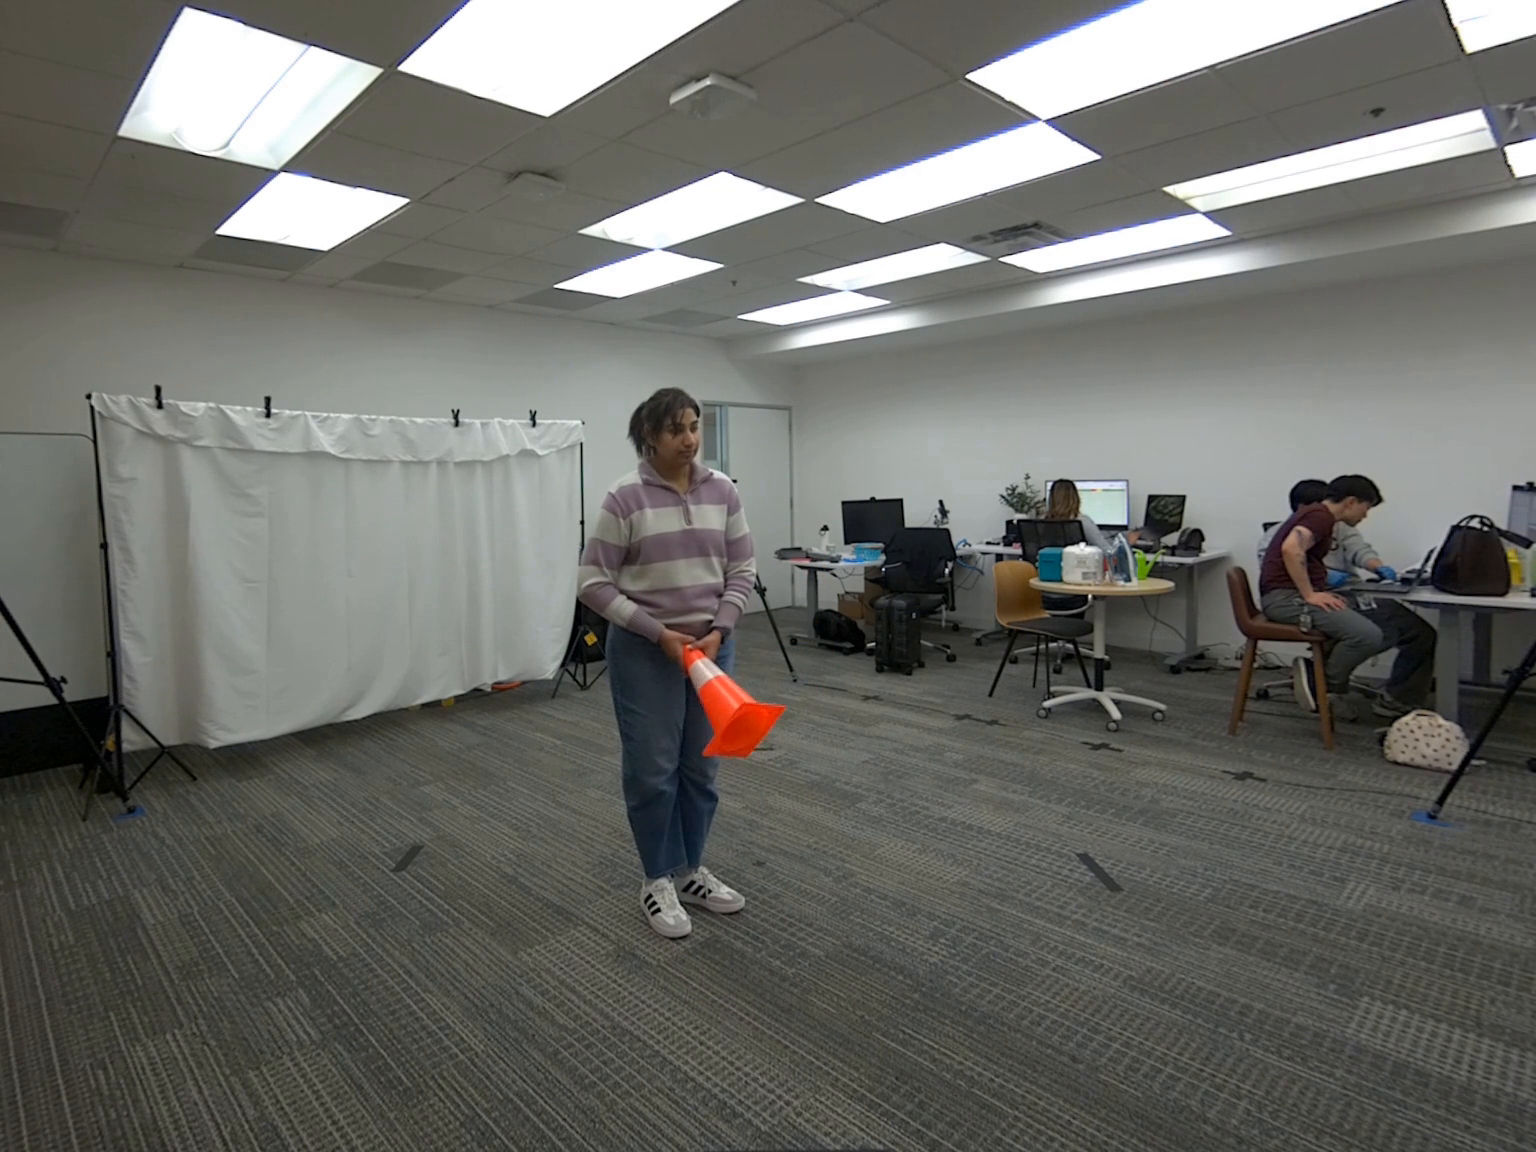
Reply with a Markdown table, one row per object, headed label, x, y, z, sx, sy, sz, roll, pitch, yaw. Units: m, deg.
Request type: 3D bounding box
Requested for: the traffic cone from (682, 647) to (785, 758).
| label | x | y | z | sx | sy | sz | roll | pitch | yaw |
| --- | --- | --- | --- | --- | --- | --- | --- | --- | --- |
| traffic cone | -0.156 | 0.304 | 2.450 | 0.198 | 0.202 | 0.399 | 16 | 25 | -44 |
